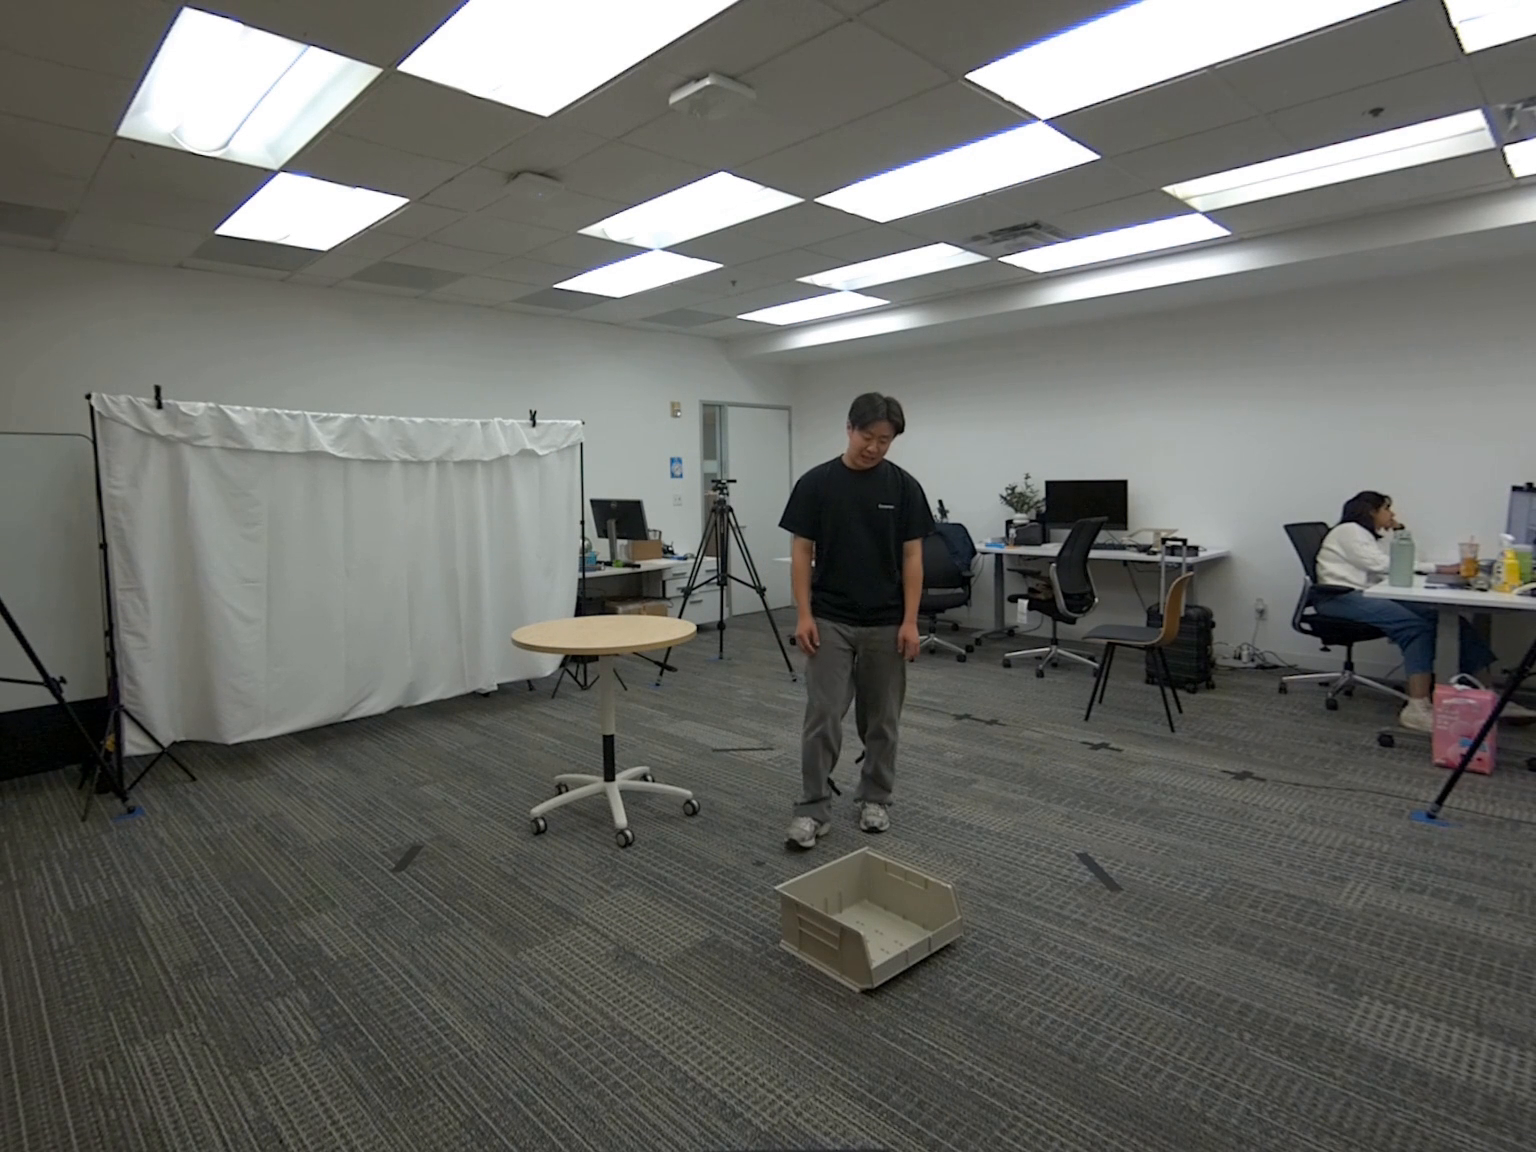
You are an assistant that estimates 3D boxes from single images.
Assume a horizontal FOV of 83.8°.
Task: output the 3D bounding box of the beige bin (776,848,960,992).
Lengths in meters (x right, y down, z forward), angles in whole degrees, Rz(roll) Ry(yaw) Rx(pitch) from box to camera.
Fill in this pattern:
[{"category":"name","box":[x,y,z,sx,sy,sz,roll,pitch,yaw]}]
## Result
[{"category":"beige bin","box":[0.303,1.015,2.546,0.411,0.188,0.389,-7,7,-41]}]
